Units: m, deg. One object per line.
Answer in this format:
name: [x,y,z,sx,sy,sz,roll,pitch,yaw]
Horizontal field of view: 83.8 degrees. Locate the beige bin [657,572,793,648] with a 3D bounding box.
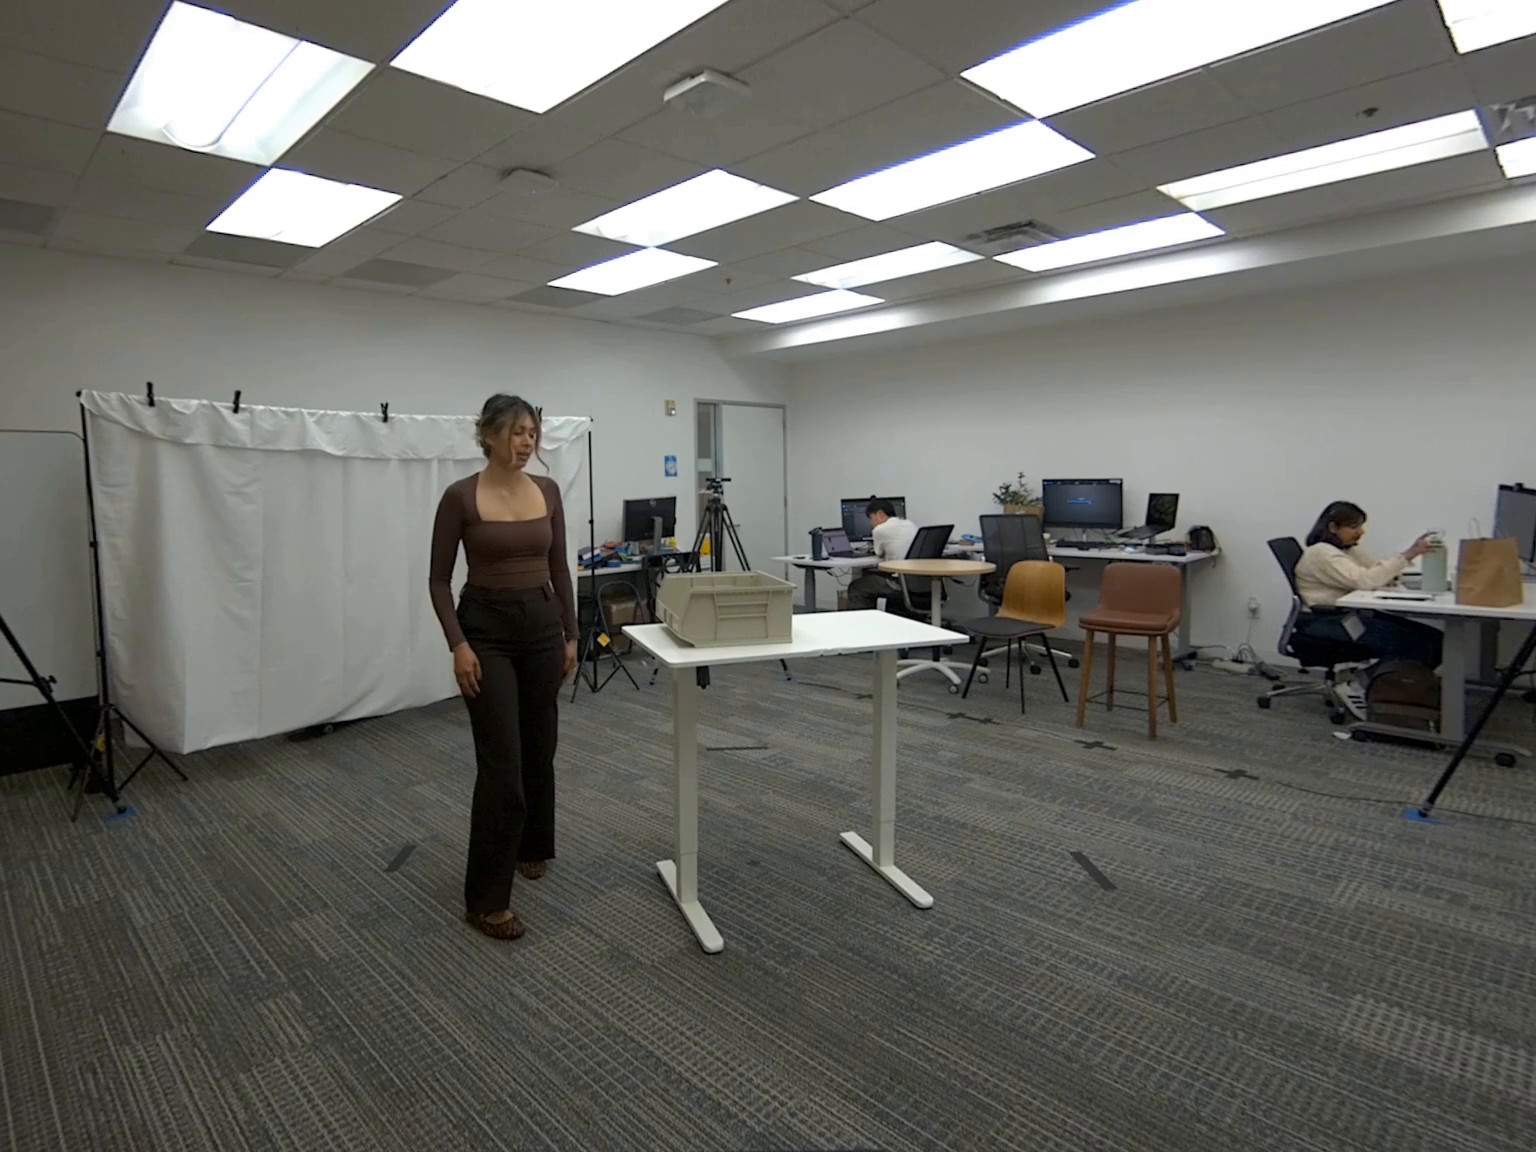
beige bin: [-0.150,0.103,2.807,0.372,0.188,0.430,-1,6,-17]
